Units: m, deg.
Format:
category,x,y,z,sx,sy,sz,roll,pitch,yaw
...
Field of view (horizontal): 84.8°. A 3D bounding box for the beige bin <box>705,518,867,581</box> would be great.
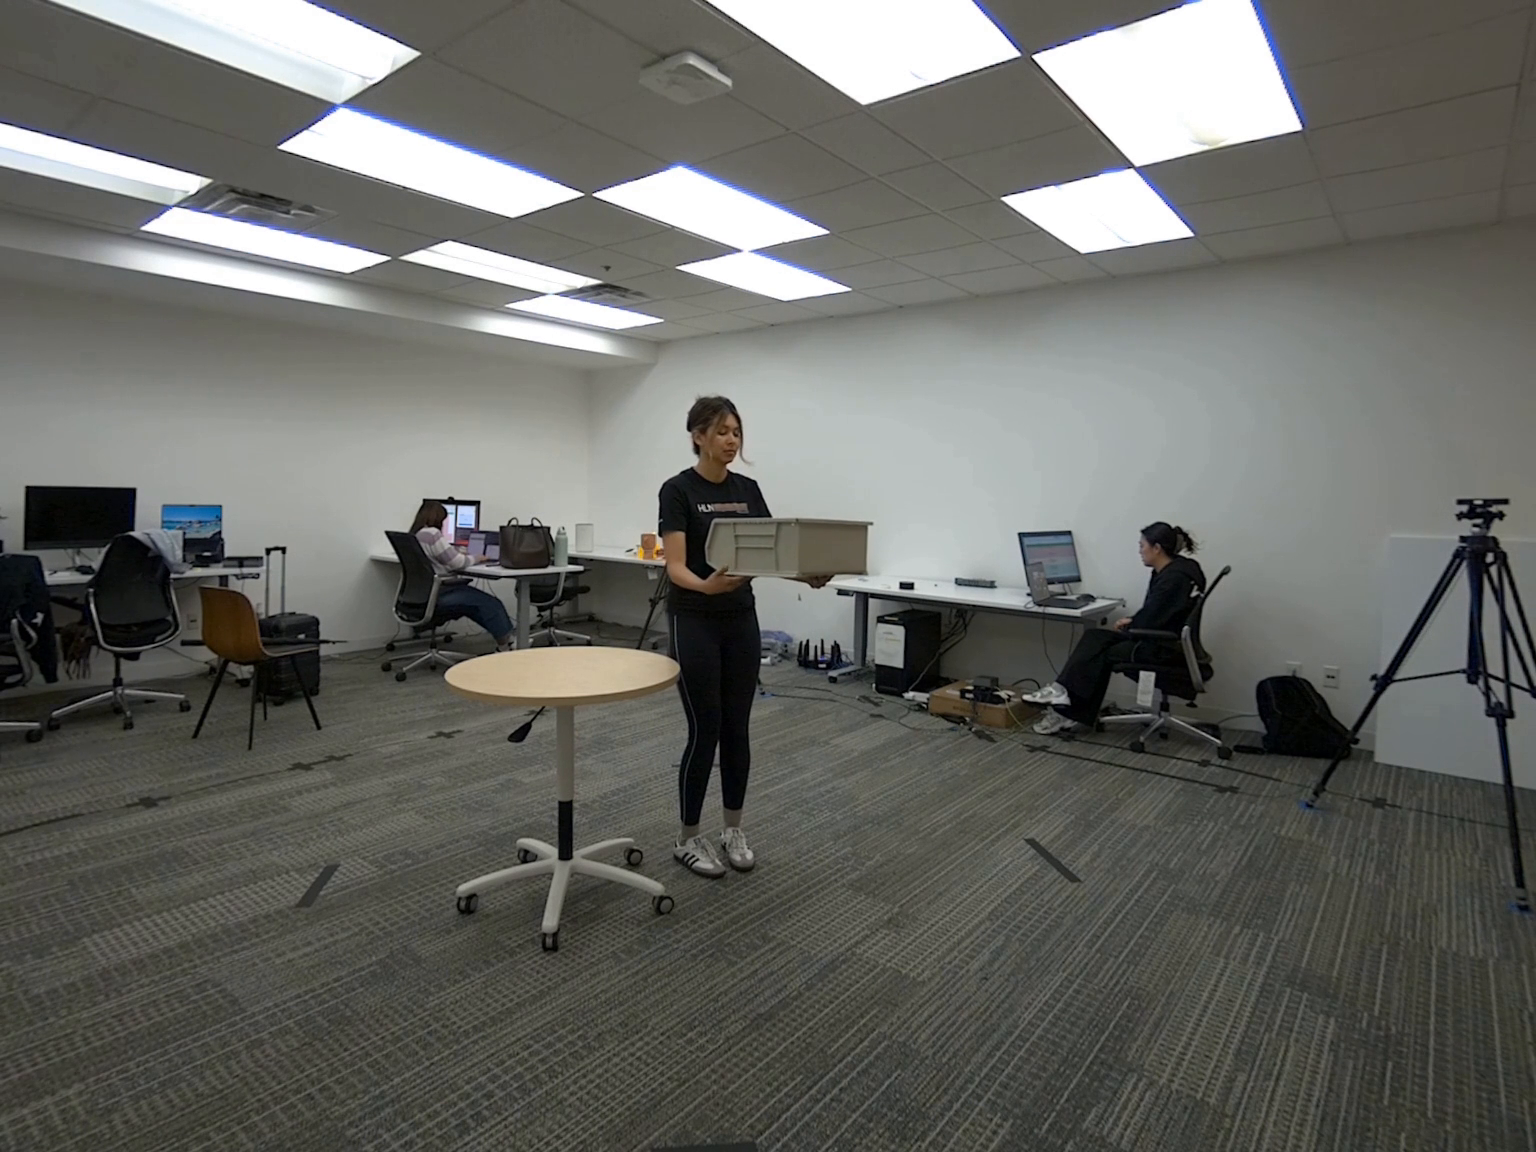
category,x,y,z,sx,sy,sz,roll,pitch,yaw
beige bin,0.062,-0.093,2.792,0.390,0.189,0.409,3,2,39
